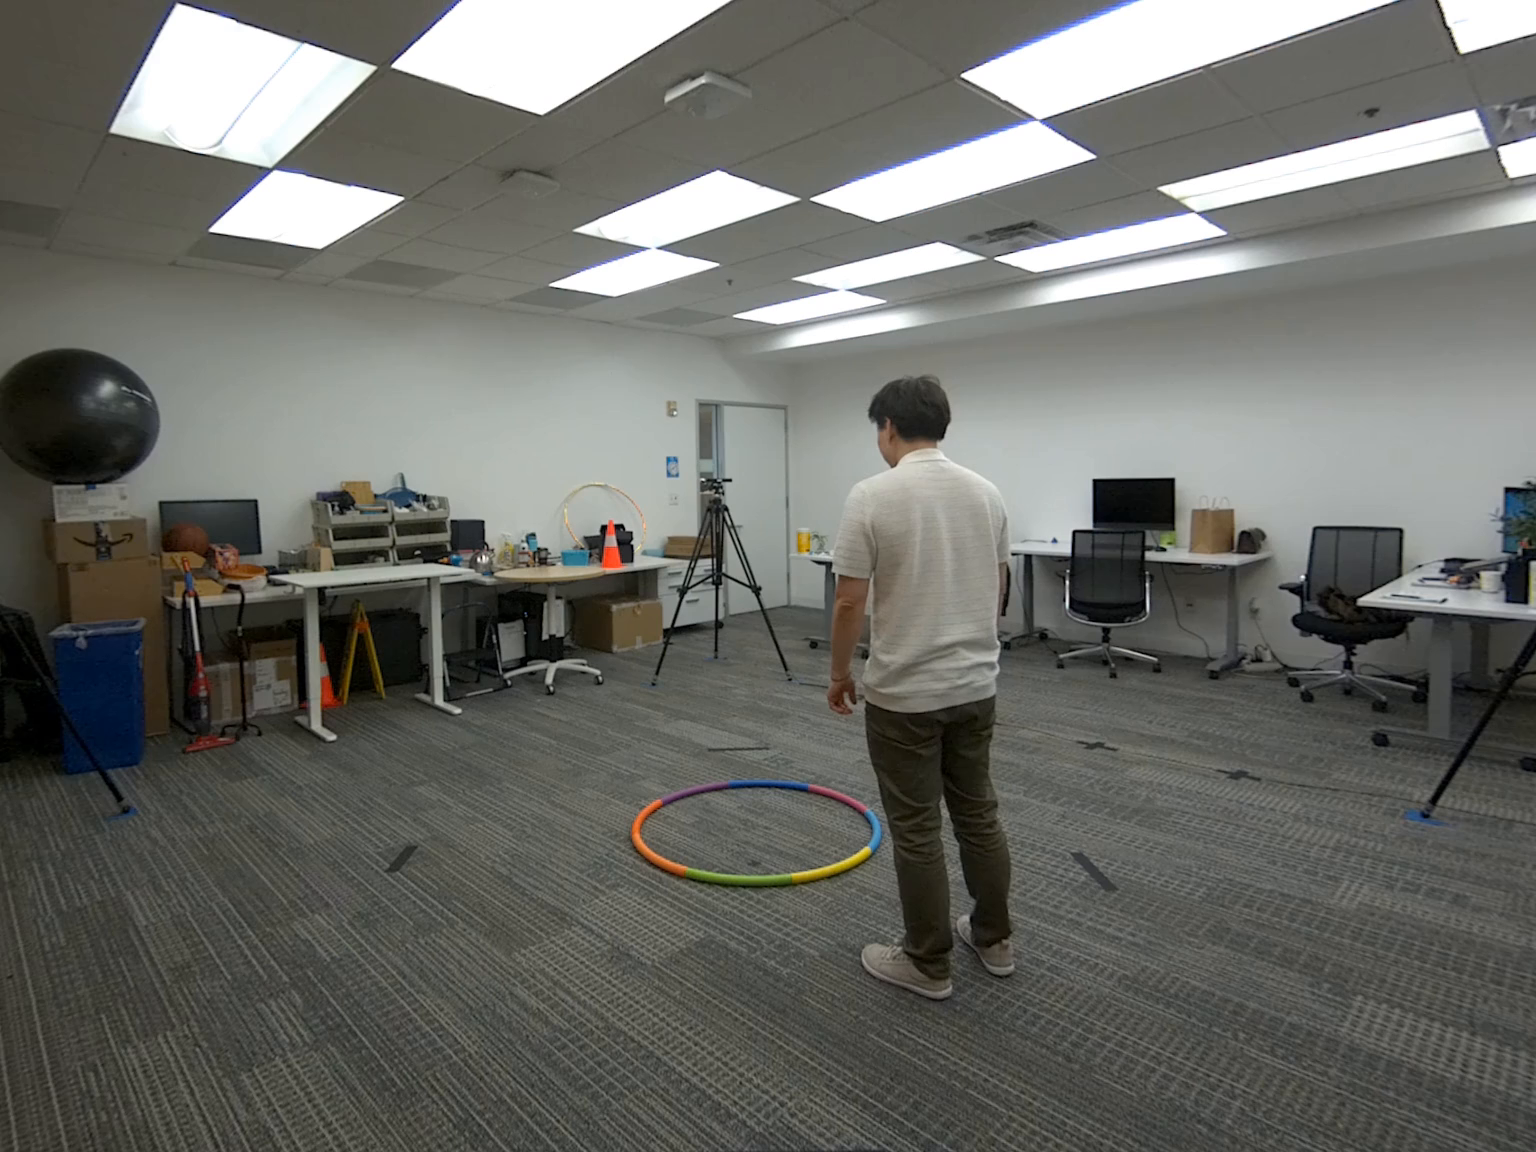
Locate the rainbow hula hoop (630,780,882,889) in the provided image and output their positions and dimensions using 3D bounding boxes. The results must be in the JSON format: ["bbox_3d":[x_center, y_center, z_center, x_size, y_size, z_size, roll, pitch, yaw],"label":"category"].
[{"bbox_3d":[-0.050,0.980,3.406,0.978,0.035,0.984,-1,6,-2],"label":"rainbow hula hoop"}]
